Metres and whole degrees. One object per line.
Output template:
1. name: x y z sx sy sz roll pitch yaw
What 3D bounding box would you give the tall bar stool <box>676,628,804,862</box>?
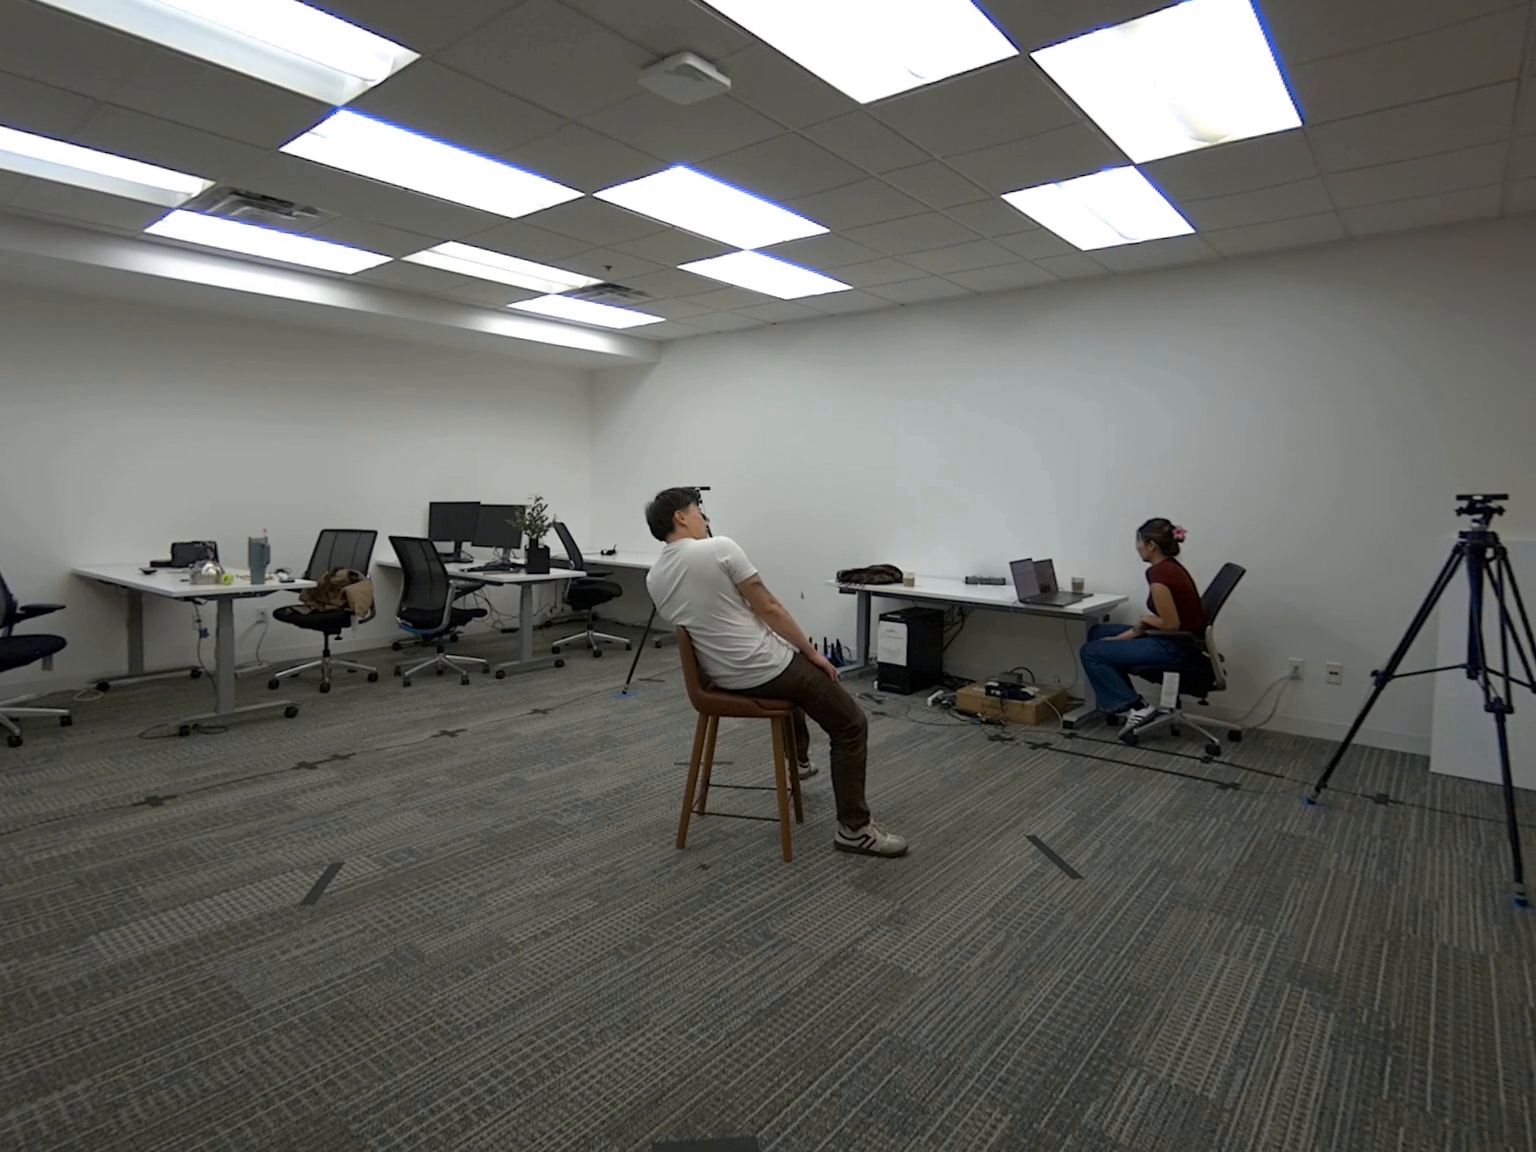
1. tall bar stool: -0.112 0.608 3.398 0.474 0.888 0.451 0 2 12
